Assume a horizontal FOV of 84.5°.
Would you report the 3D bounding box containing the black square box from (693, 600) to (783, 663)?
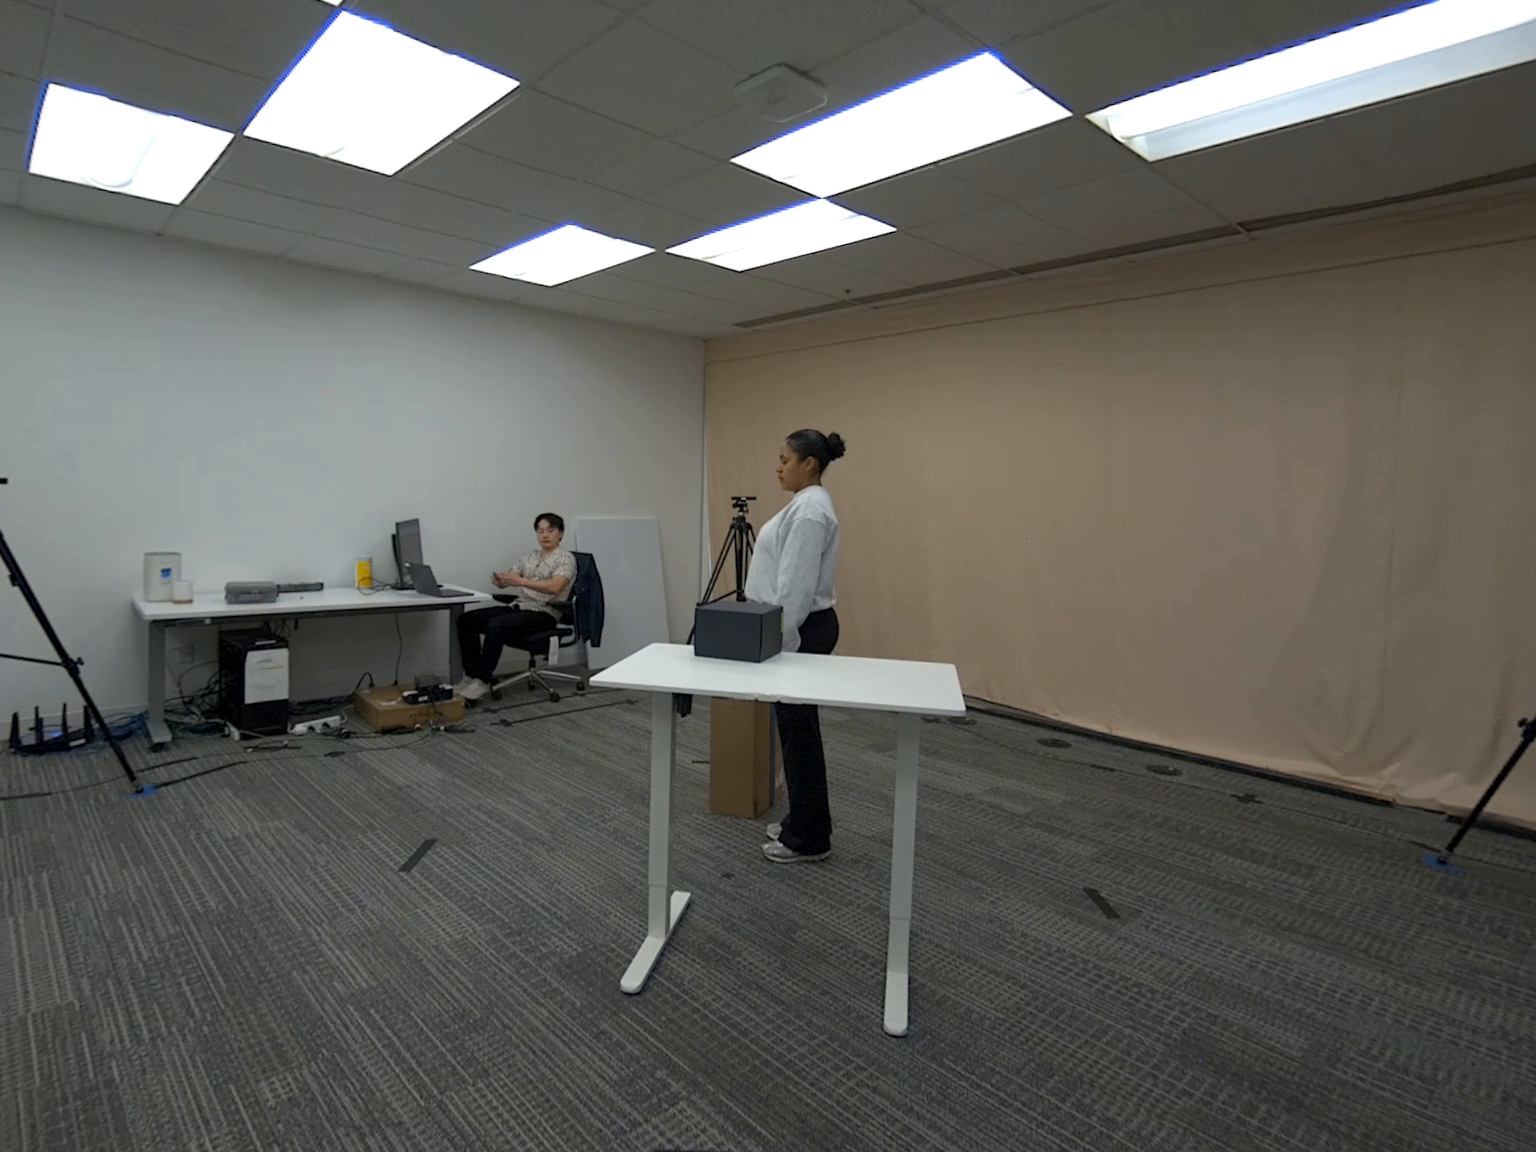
[{"bbox_3d":[-0.100,0.177,2.736,0.231,0.155,0.214,4,5,20],"label":"black square box"}]
